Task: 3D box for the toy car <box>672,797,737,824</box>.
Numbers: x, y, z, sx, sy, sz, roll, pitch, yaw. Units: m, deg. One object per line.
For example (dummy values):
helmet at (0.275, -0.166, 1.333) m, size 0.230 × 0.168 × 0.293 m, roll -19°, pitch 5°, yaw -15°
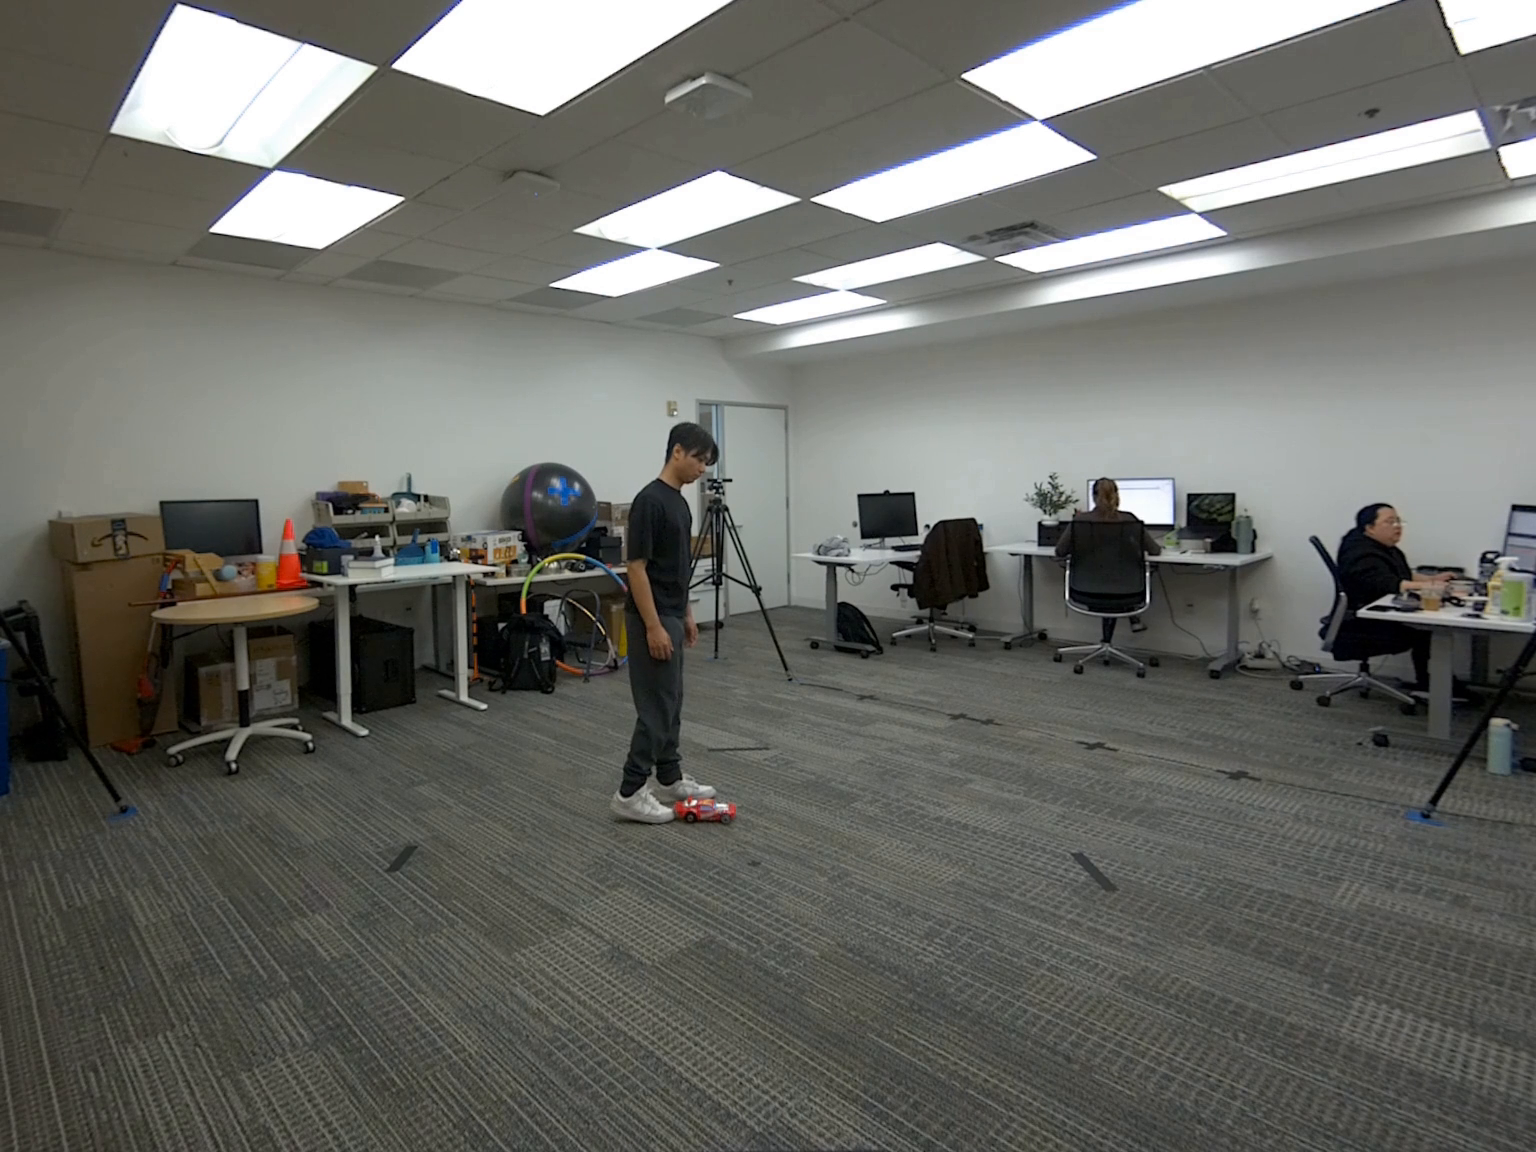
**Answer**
toy car at (-0.265, 0.966, 3.524) m, size 0.255 × 0.083 × 0.130 m, roll 11°, pitch 6°, yaw 2°
